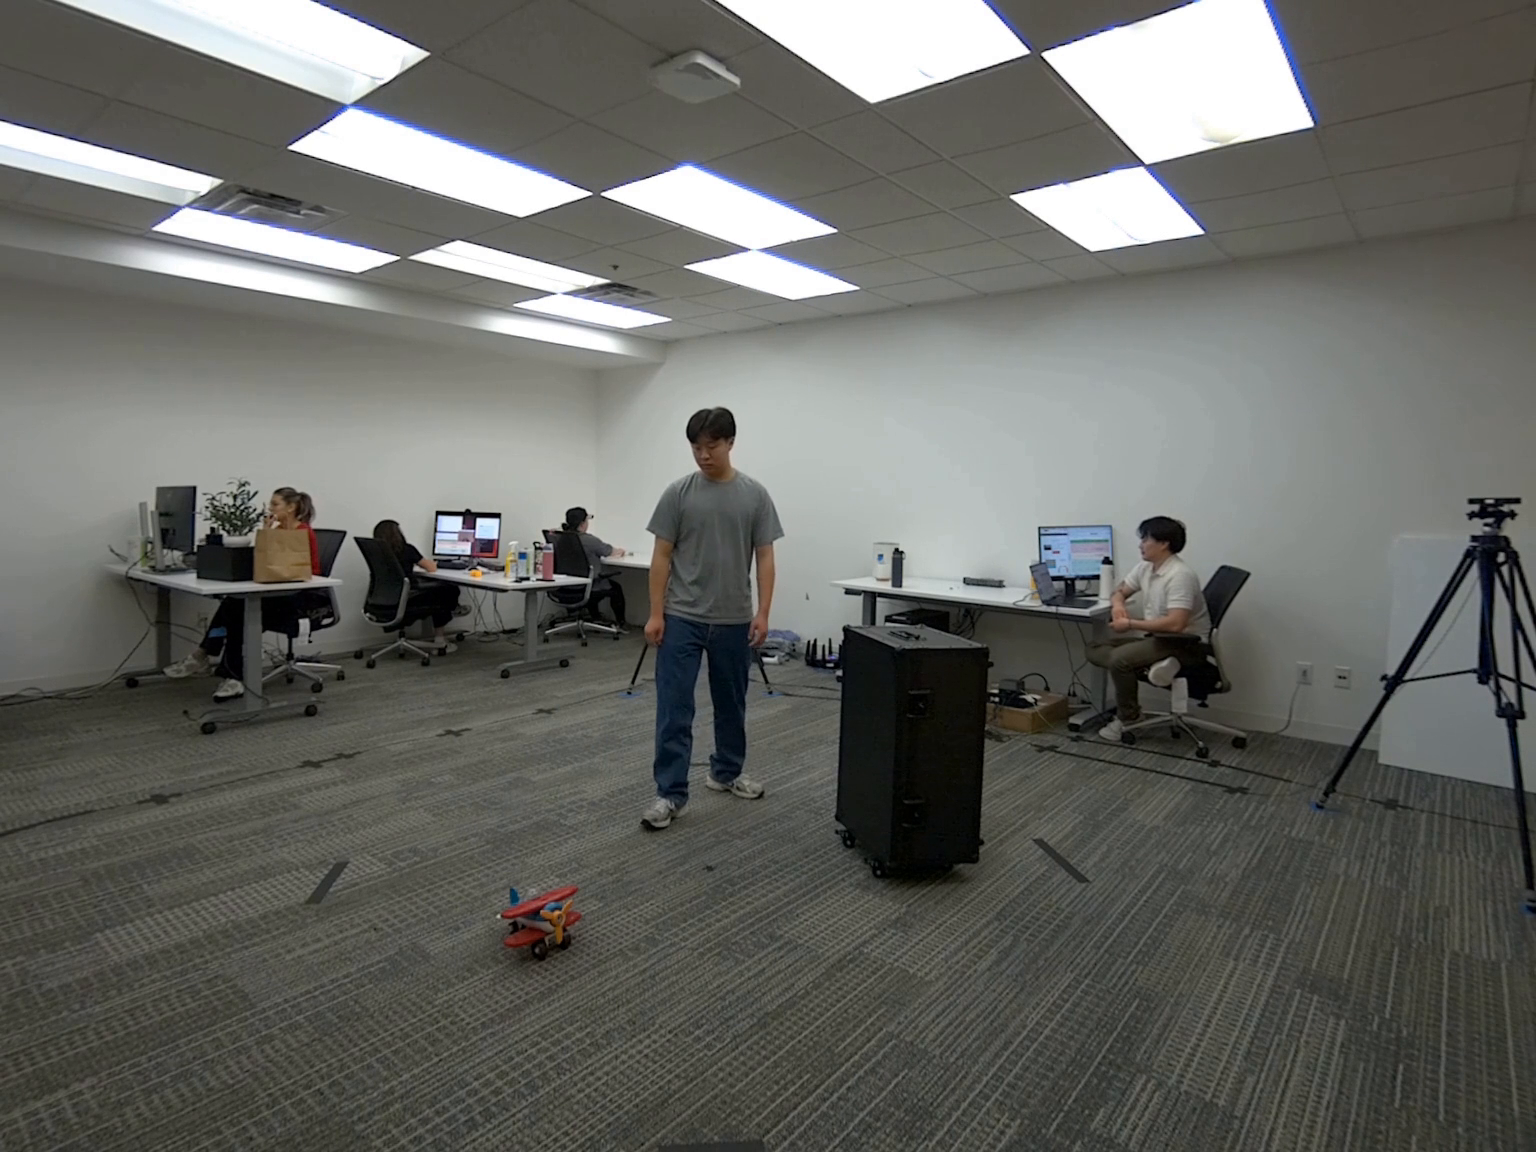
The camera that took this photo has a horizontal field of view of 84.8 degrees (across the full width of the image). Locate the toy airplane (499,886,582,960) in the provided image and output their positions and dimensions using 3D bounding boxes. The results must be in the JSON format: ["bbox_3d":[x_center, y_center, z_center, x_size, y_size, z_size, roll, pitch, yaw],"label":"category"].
[{"bbox_3d":[-0.727,1.039,2.566,0.263,0.156,0.248,3,5,14],"label":"toy airplane"}]
